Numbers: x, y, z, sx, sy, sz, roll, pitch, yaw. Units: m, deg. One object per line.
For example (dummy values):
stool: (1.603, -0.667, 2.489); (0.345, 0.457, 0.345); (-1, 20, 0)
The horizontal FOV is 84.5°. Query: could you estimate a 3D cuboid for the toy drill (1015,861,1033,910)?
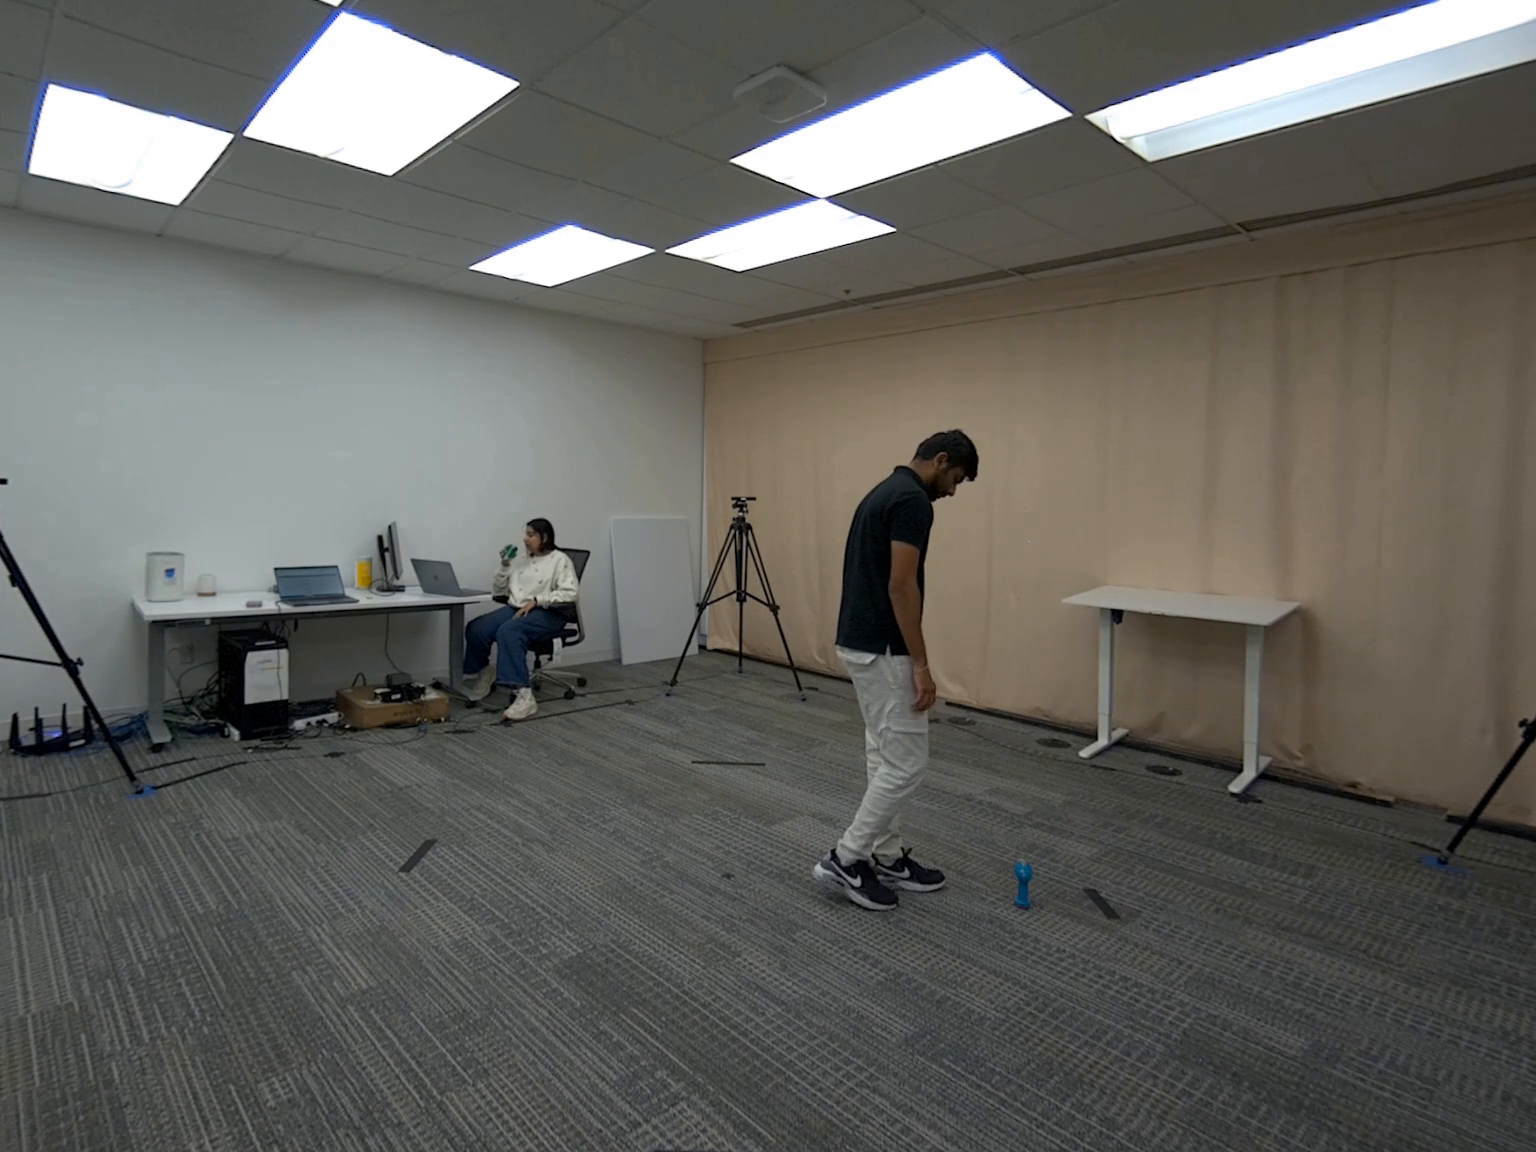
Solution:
toy drill: (0.895, 1.077, 2.971); (0.062, 0.146, 0.169); (2, 4, 9)
